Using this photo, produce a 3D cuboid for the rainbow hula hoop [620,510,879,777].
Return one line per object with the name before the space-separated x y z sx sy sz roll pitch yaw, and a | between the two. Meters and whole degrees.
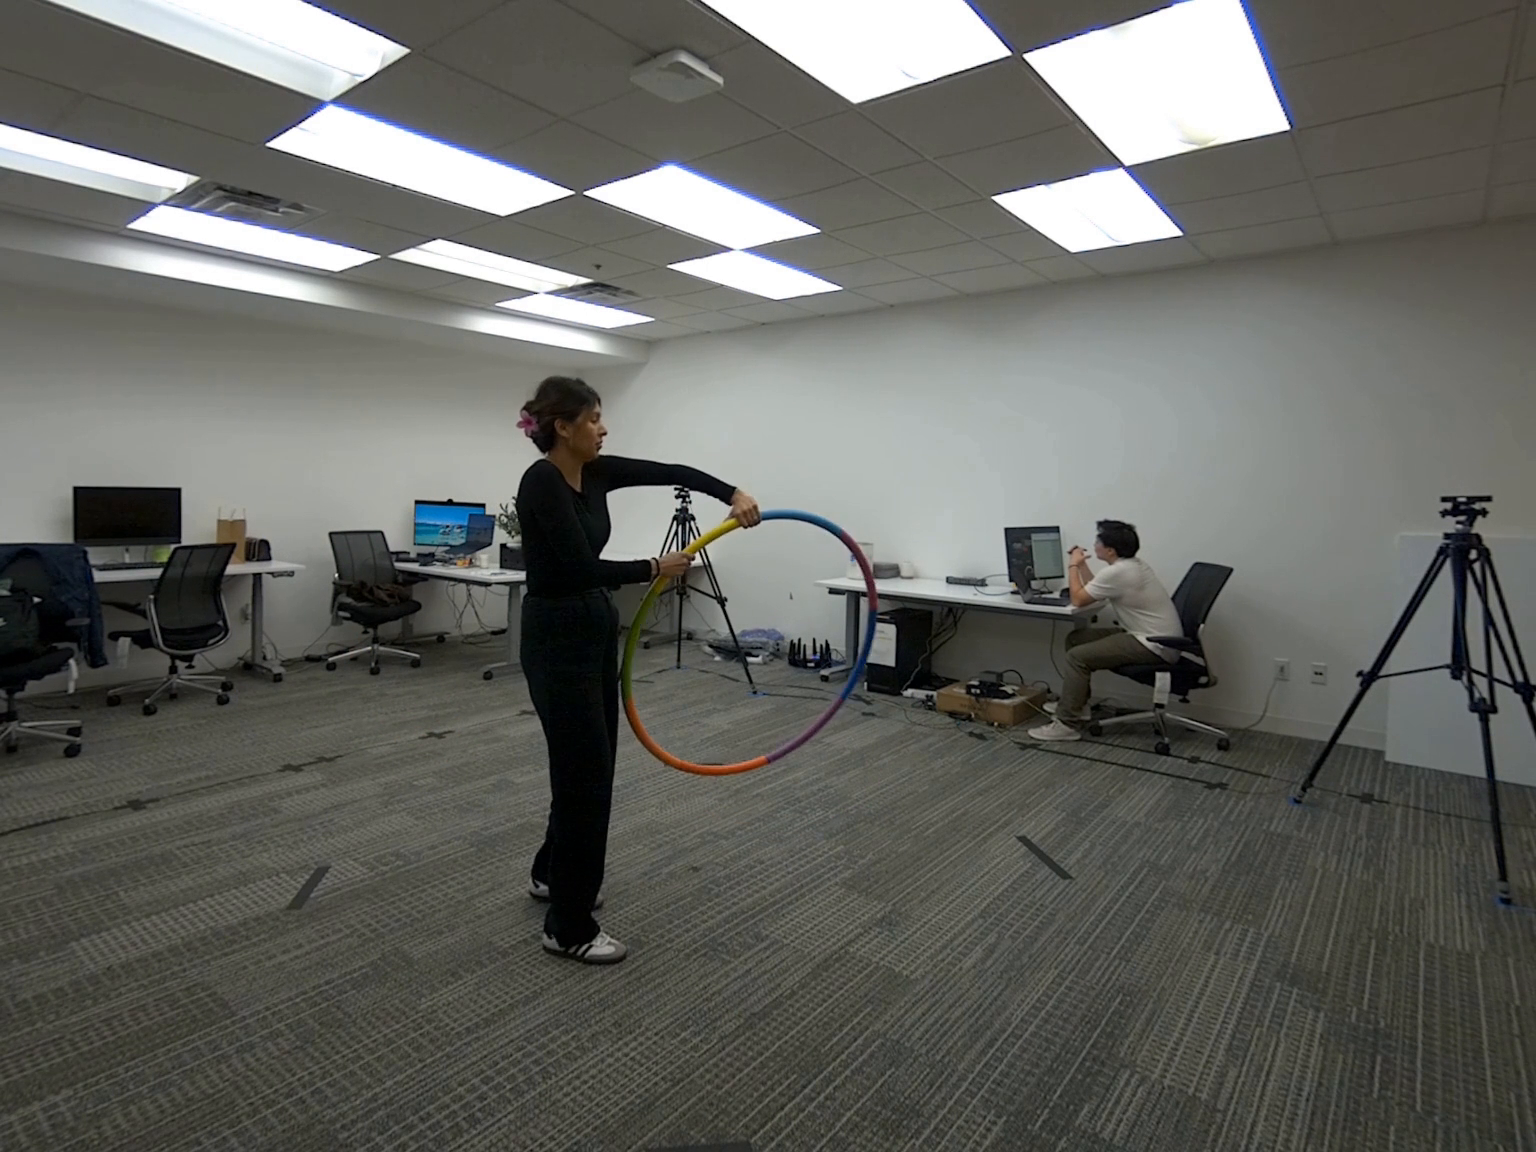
rainbow hula hoop | -0.039 0.249 2.859 0.960 0.972 0.054 -1 21 -29
